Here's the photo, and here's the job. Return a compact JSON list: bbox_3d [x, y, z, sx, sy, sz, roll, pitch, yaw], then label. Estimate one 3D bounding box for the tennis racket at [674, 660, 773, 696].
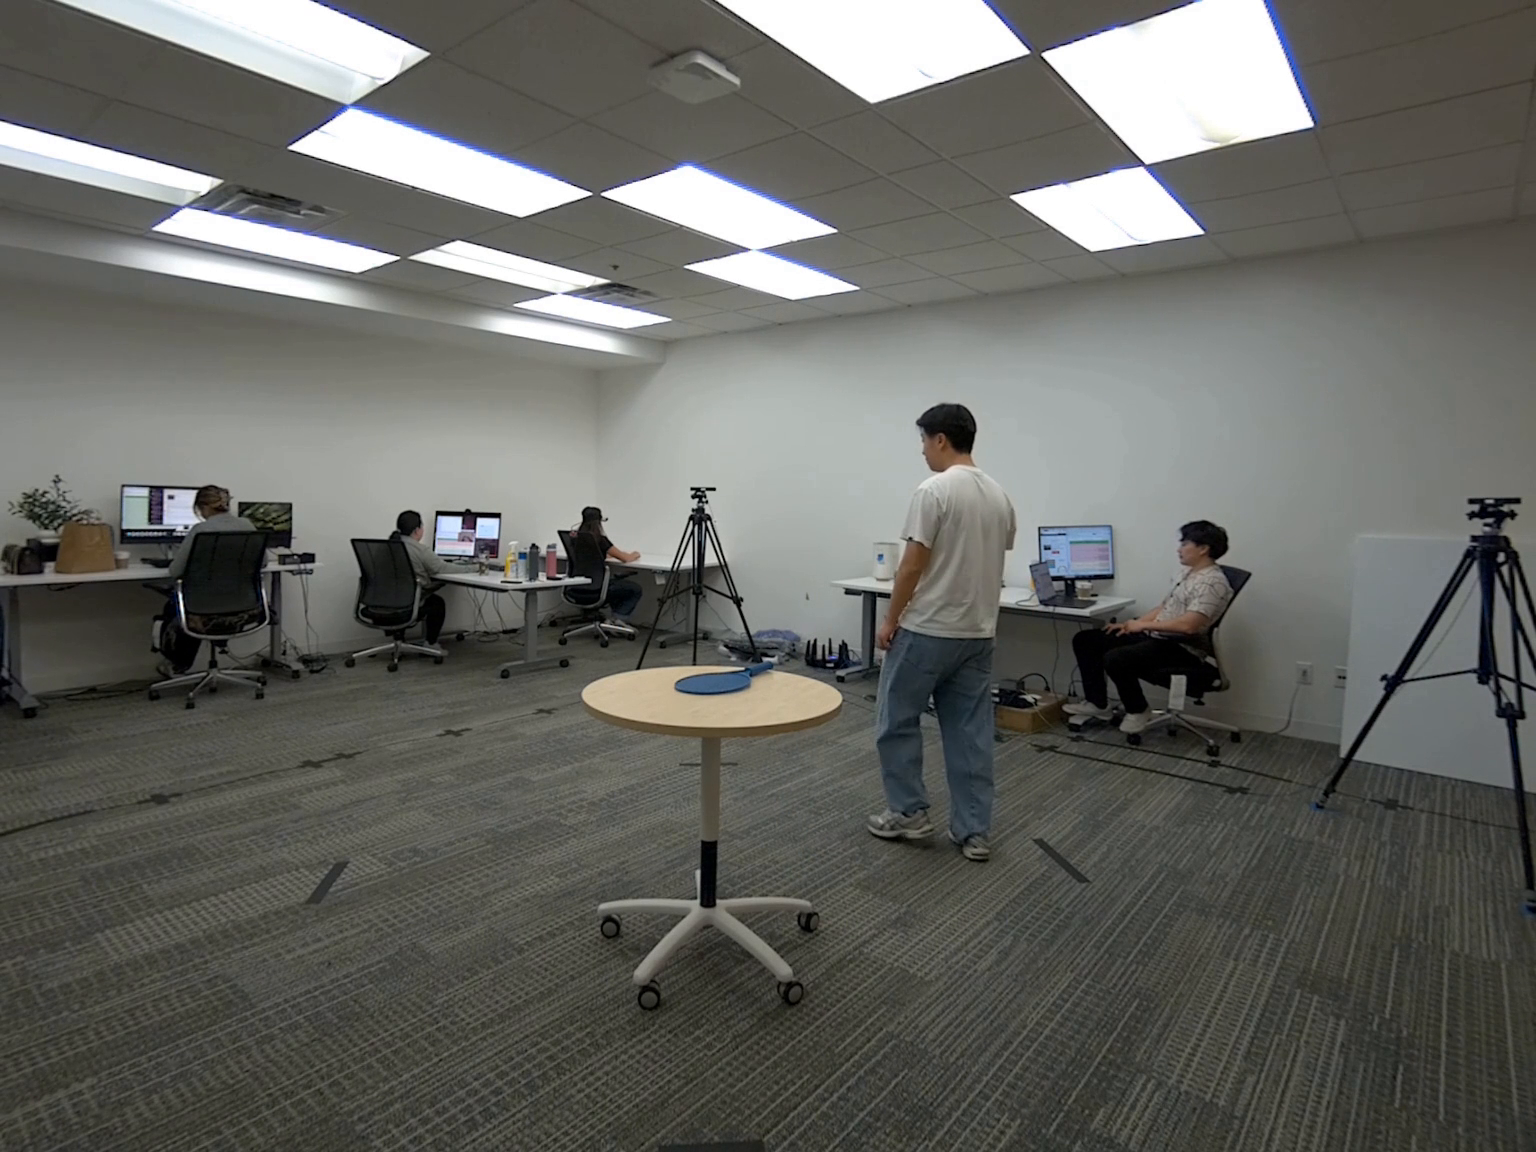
[{"bbox_3d":[-0.125,0.318,2.670,0.221,0.031,0.421,5,9,38],"label":"tennis racket"}]
